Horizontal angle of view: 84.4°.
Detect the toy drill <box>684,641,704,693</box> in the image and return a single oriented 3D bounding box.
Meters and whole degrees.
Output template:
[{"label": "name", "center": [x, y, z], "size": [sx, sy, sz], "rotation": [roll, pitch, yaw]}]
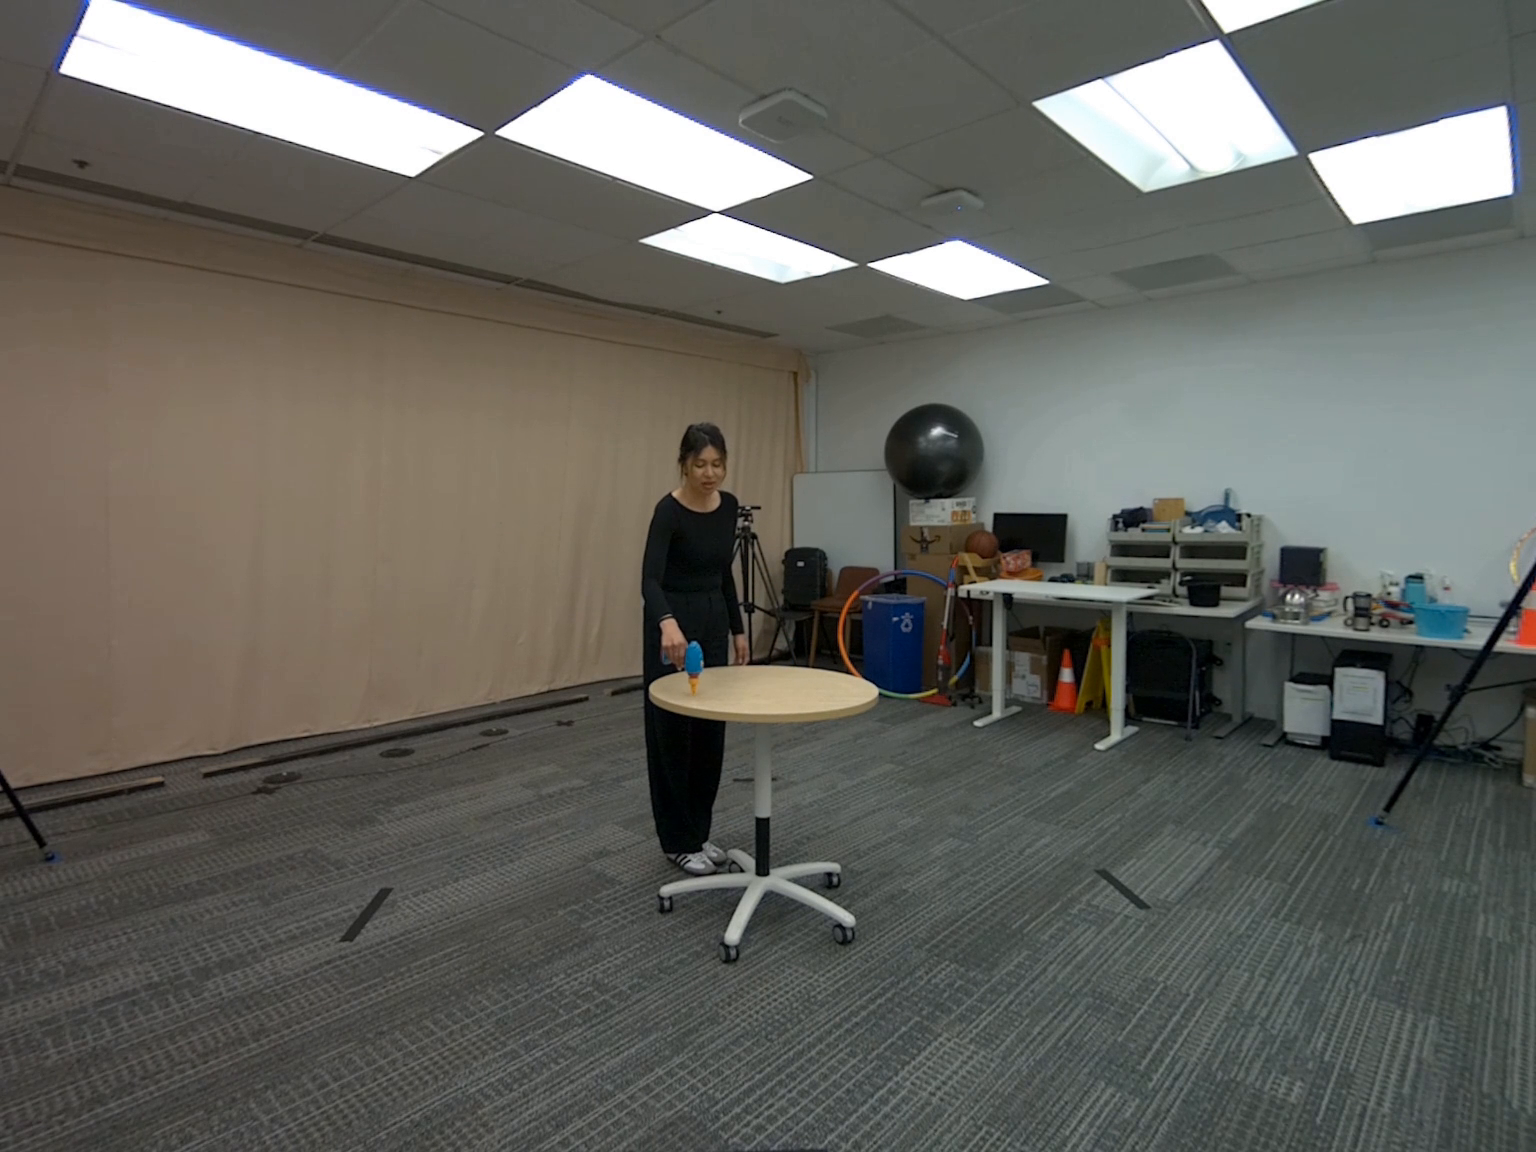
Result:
[{"label": "toy drill", "center": [-0.269, 0.285, 2.682], "size": [0.150, 0.169, 0.059], "rotation": [4, 4, 33]}]
